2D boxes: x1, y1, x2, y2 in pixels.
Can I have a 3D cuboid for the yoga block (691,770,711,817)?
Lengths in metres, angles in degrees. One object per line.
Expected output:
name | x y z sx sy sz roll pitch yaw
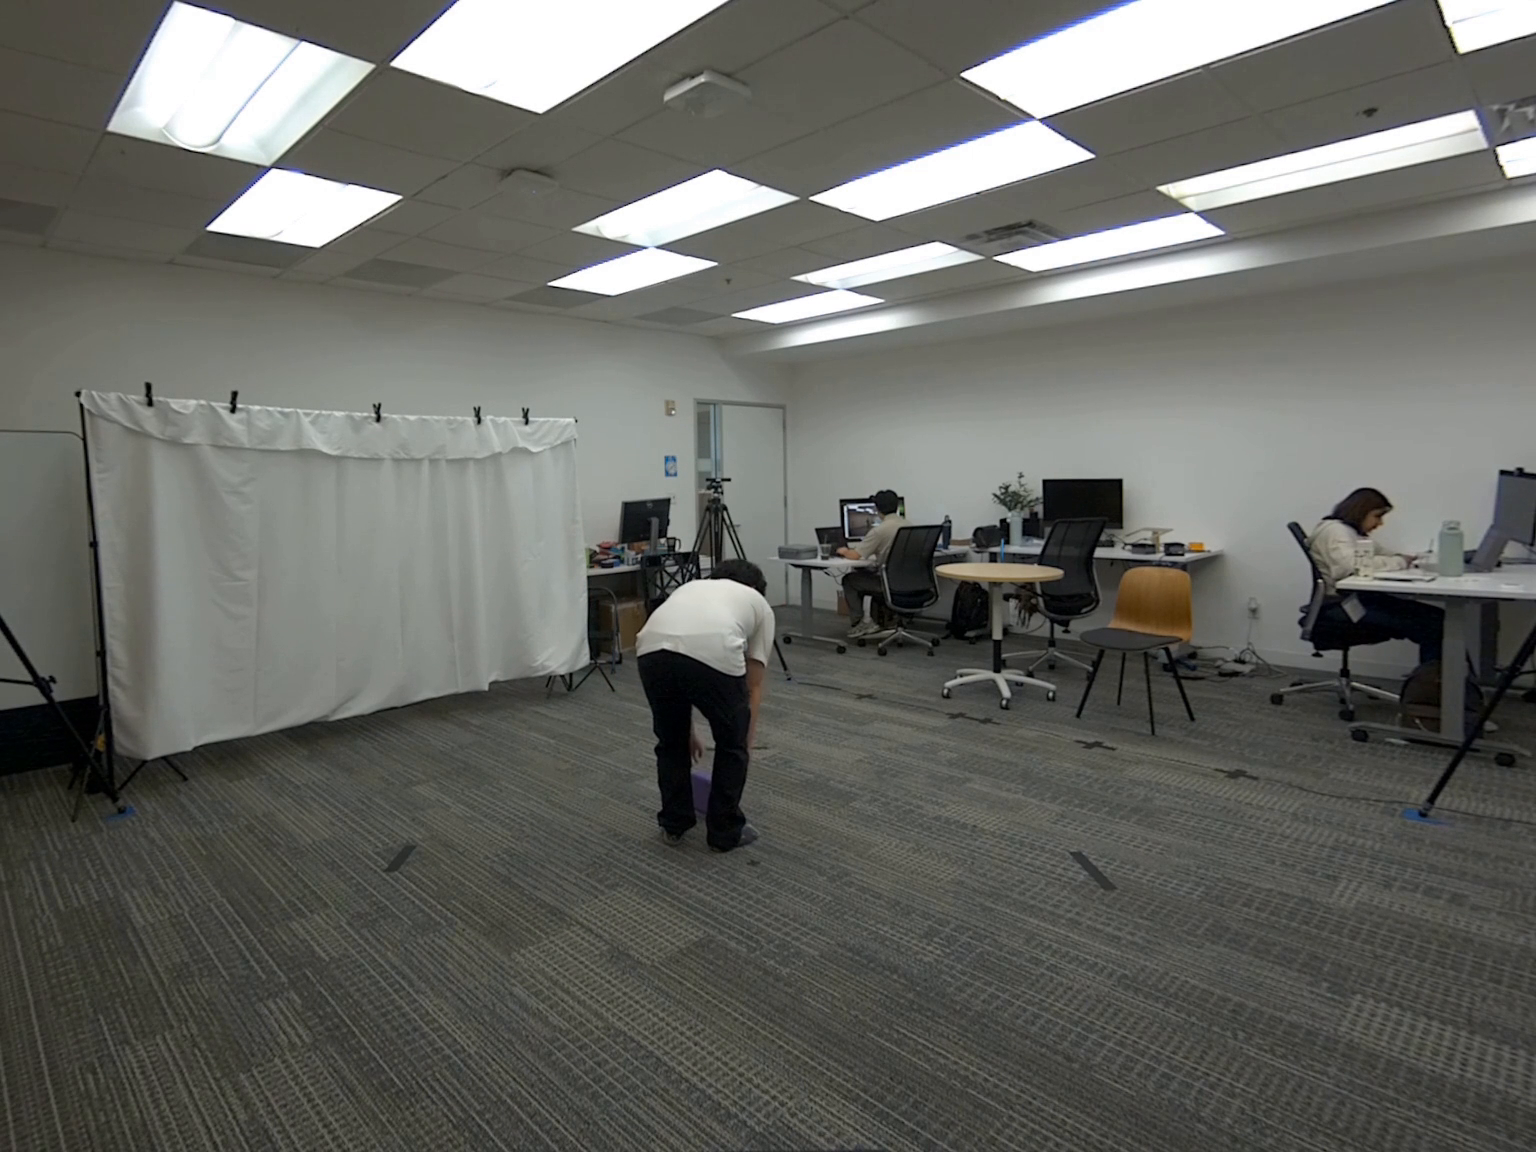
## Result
yoga block | -0.221 0.916 3.576 0.074 0.148 0.236 -4 7 -42
